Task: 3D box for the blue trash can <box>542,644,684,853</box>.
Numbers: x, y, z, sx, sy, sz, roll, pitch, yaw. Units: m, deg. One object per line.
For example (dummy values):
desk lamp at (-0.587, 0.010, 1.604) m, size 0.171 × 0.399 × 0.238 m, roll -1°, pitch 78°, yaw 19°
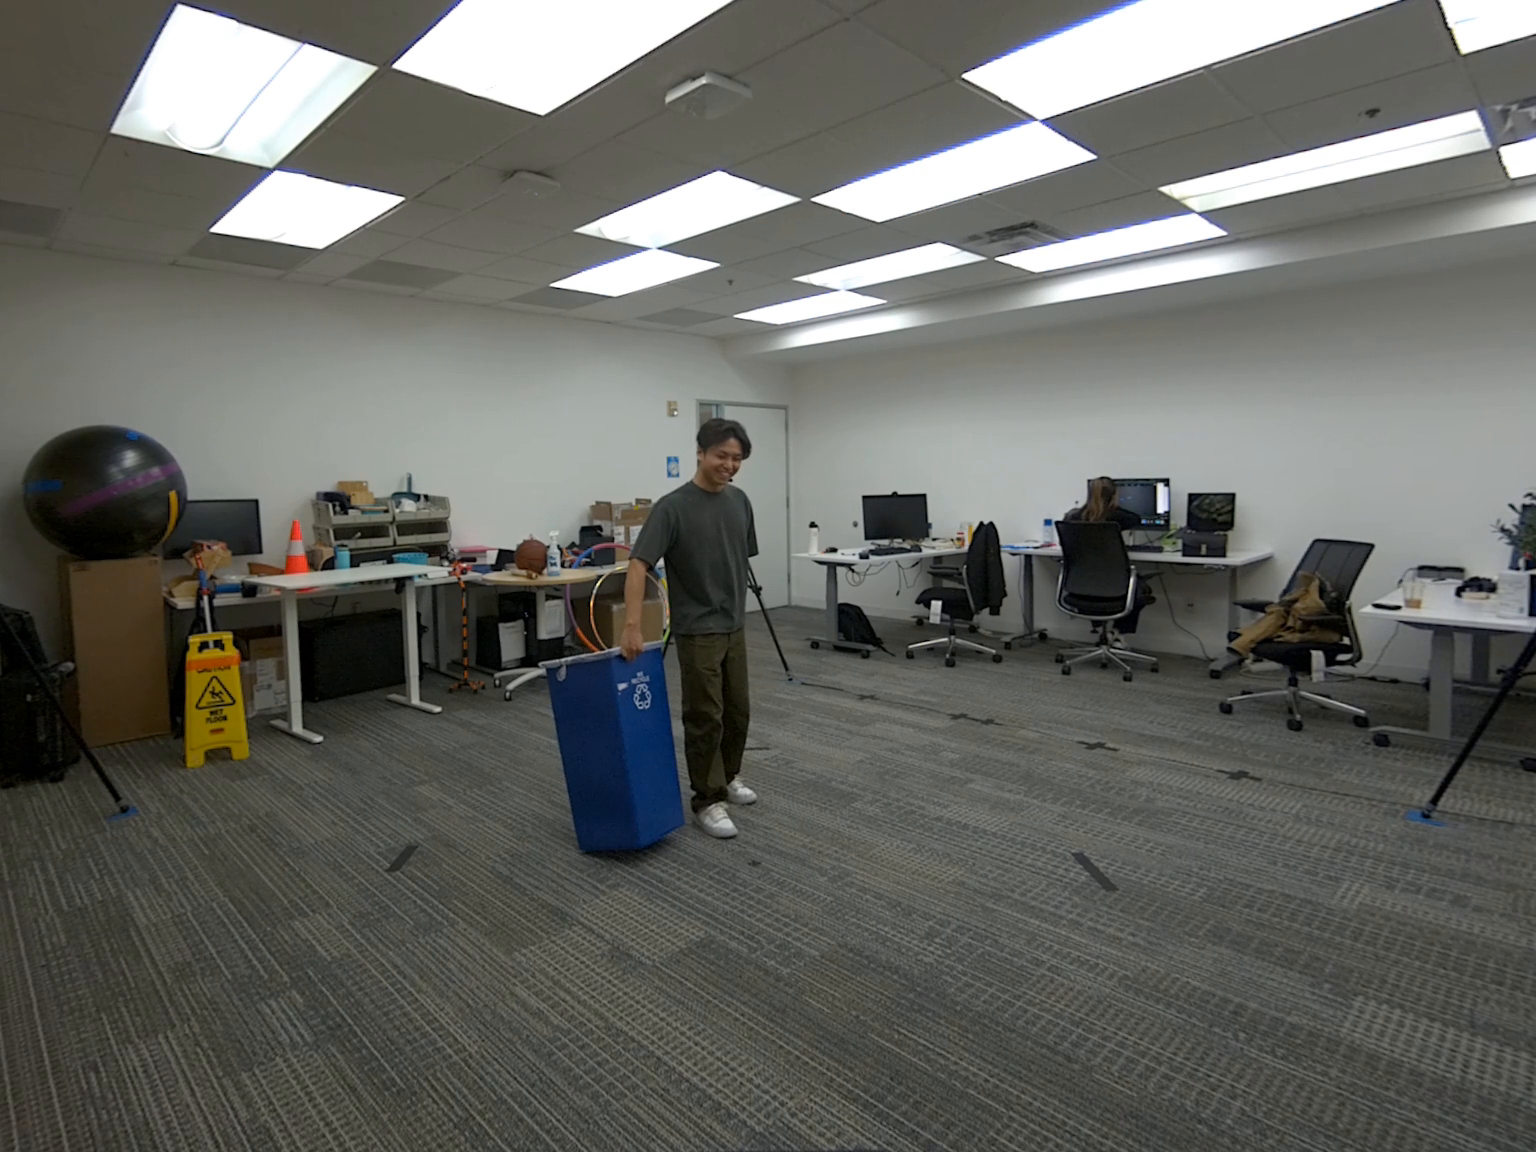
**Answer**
blue trash can at (-0.585, 0.649, 3.305) m, size 0.385 × 0.718 × 0.365 m, roll -13°, pitch -5°, yaw 28°
